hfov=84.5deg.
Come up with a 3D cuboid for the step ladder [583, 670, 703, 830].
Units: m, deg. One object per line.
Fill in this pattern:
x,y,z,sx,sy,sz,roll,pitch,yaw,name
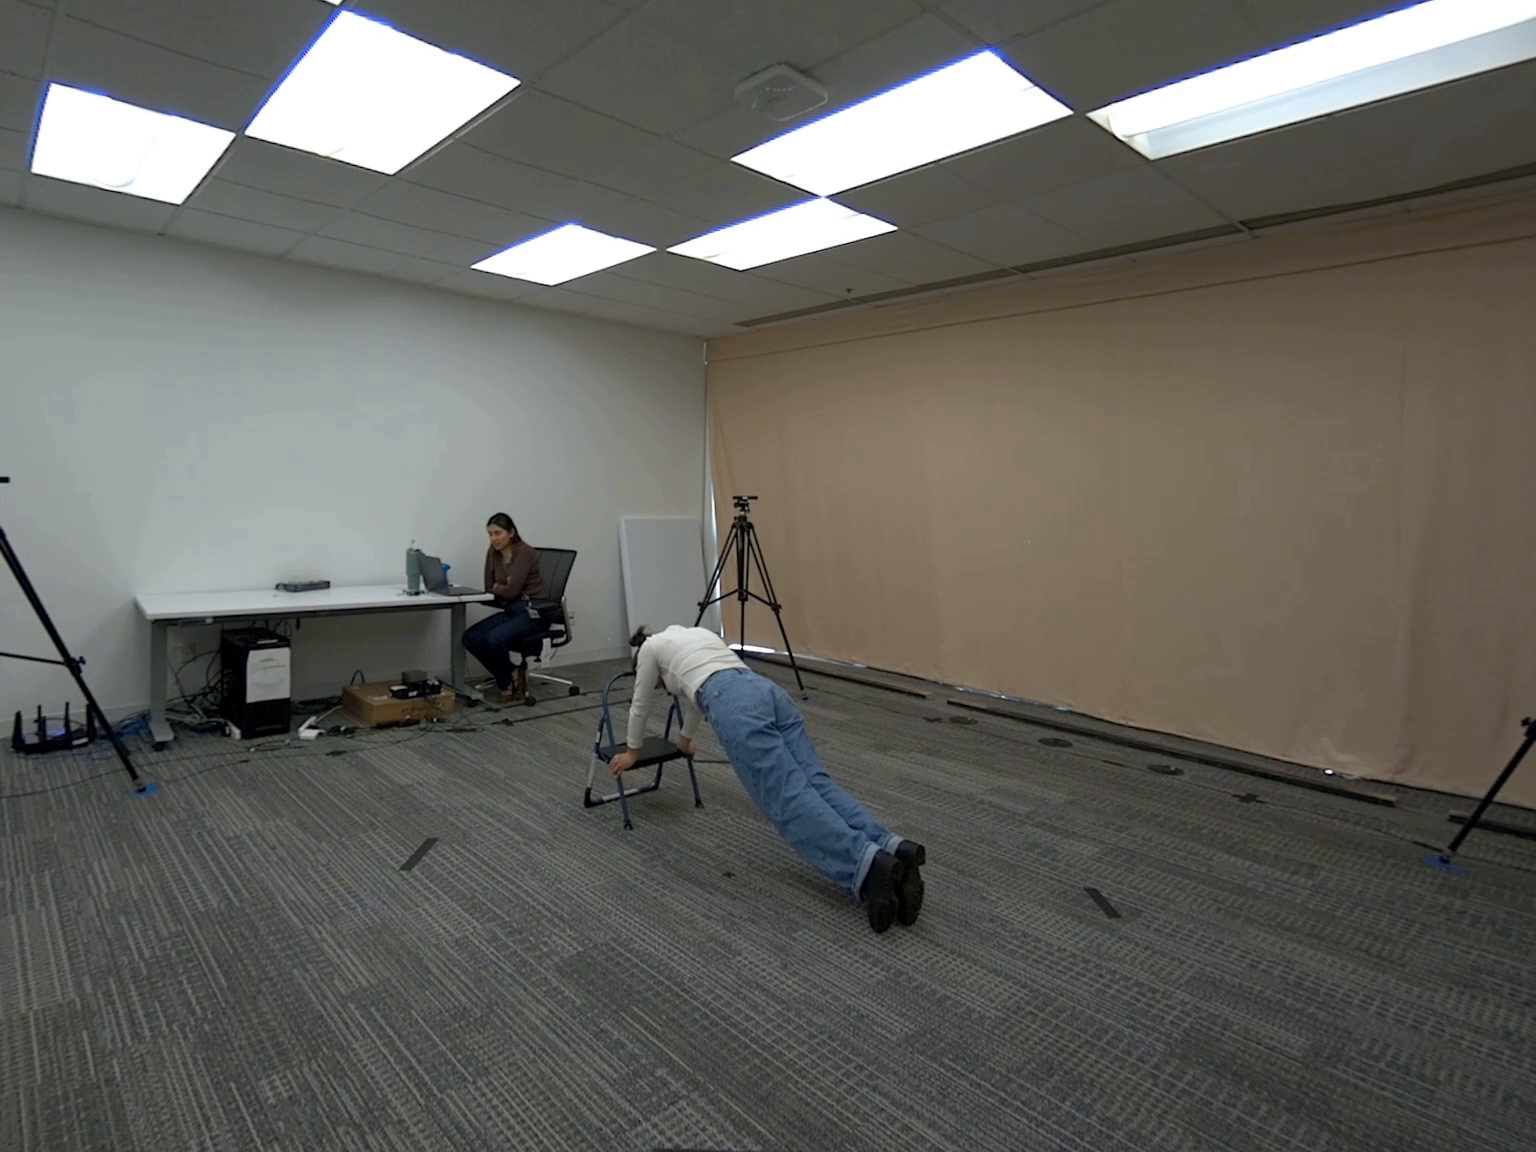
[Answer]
-0.559,0.737,3.755,0.358,0.605,0.421,5,5,45,step ladder
